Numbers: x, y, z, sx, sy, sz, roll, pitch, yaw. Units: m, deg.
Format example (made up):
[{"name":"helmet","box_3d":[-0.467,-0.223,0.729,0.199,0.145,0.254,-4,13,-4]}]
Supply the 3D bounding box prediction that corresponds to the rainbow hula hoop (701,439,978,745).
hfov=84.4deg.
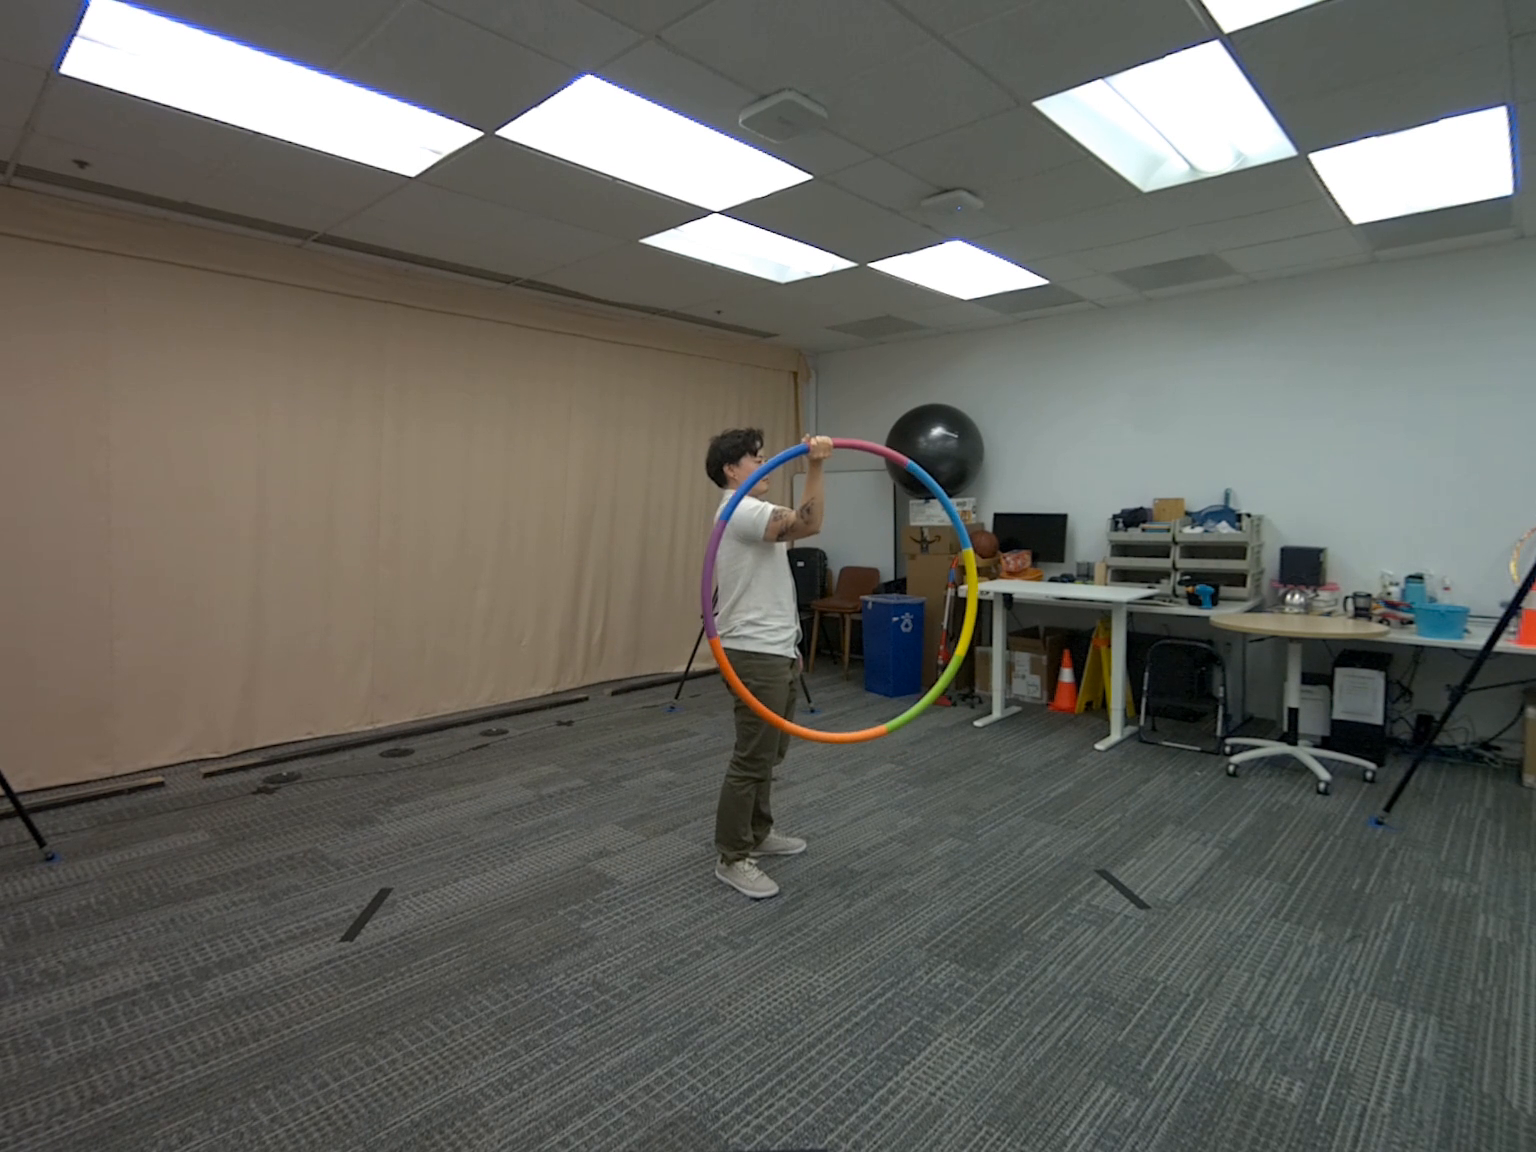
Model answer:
[{"name":"rainbow hula hoop","box_3d":[0.259,0.042,2.755,0.963,0.978,0.036,-1,0,-15]}]
